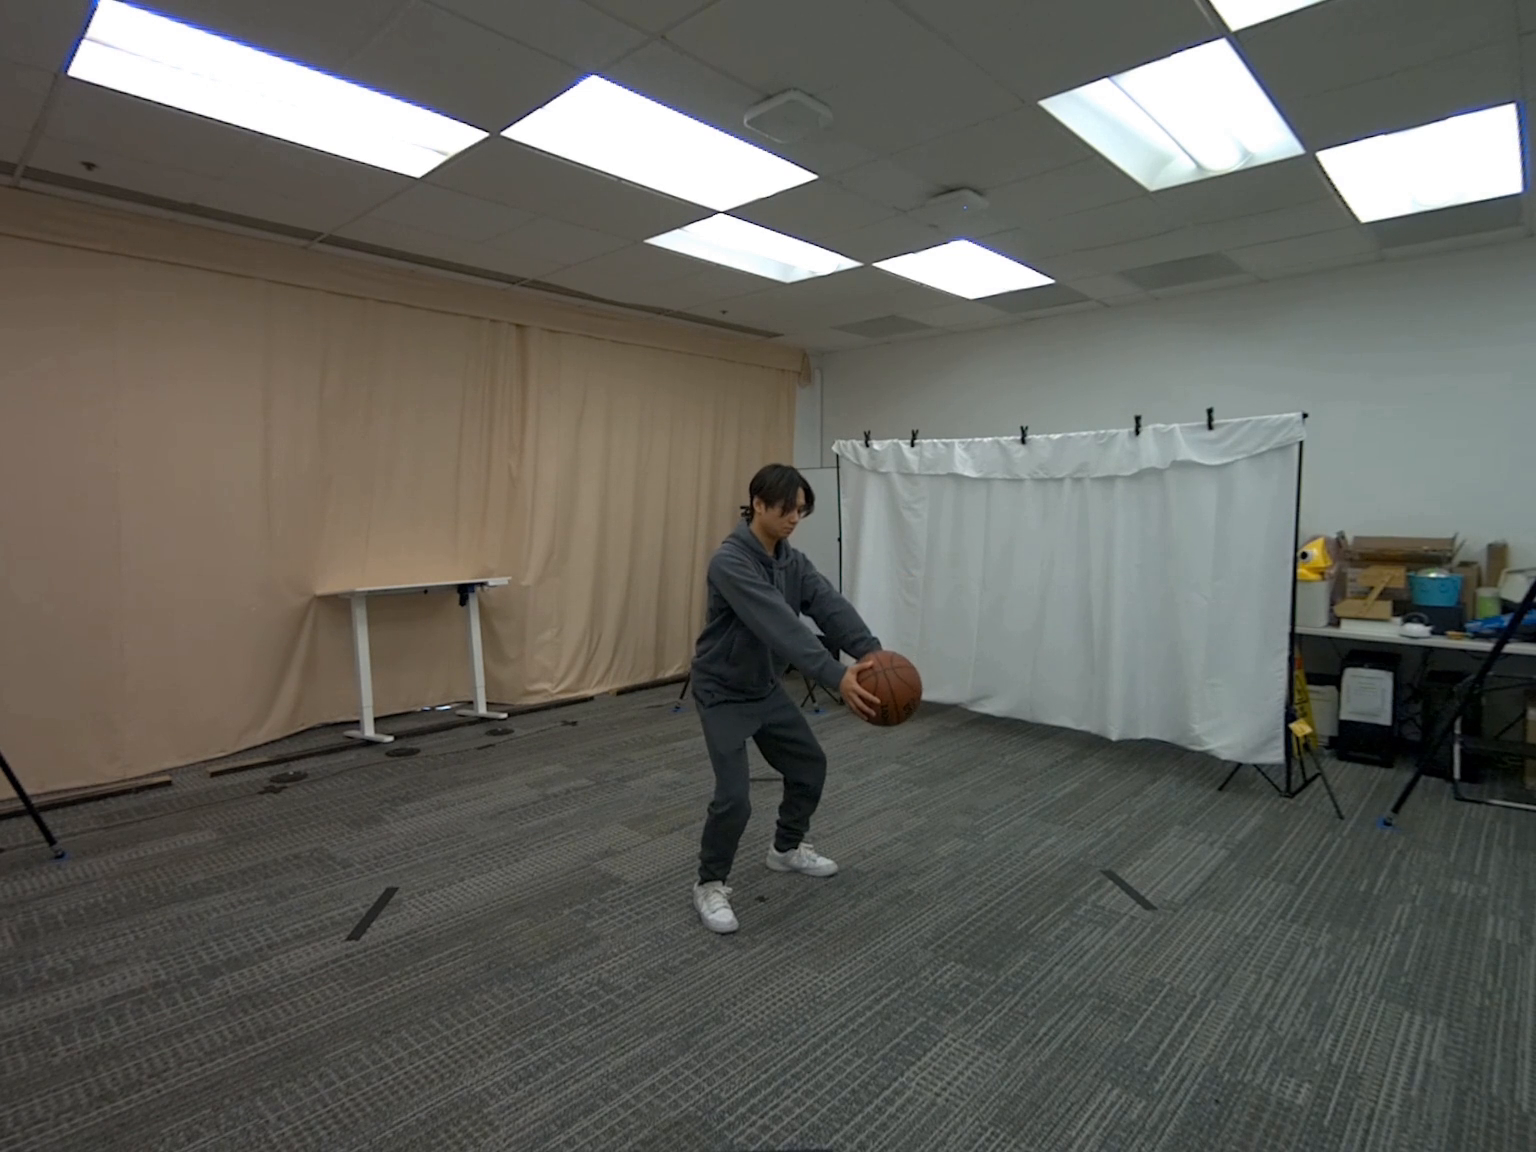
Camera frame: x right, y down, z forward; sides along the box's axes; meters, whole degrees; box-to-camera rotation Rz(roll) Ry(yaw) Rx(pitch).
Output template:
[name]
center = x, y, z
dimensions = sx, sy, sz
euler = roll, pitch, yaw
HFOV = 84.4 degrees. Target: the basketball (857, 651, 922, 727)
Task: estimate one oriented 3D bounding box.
[basketball]
center = 0.365, 0.361, 2.662
dimensions = 0.236, 0.235, 0.237
euler = 0, 4, -2
